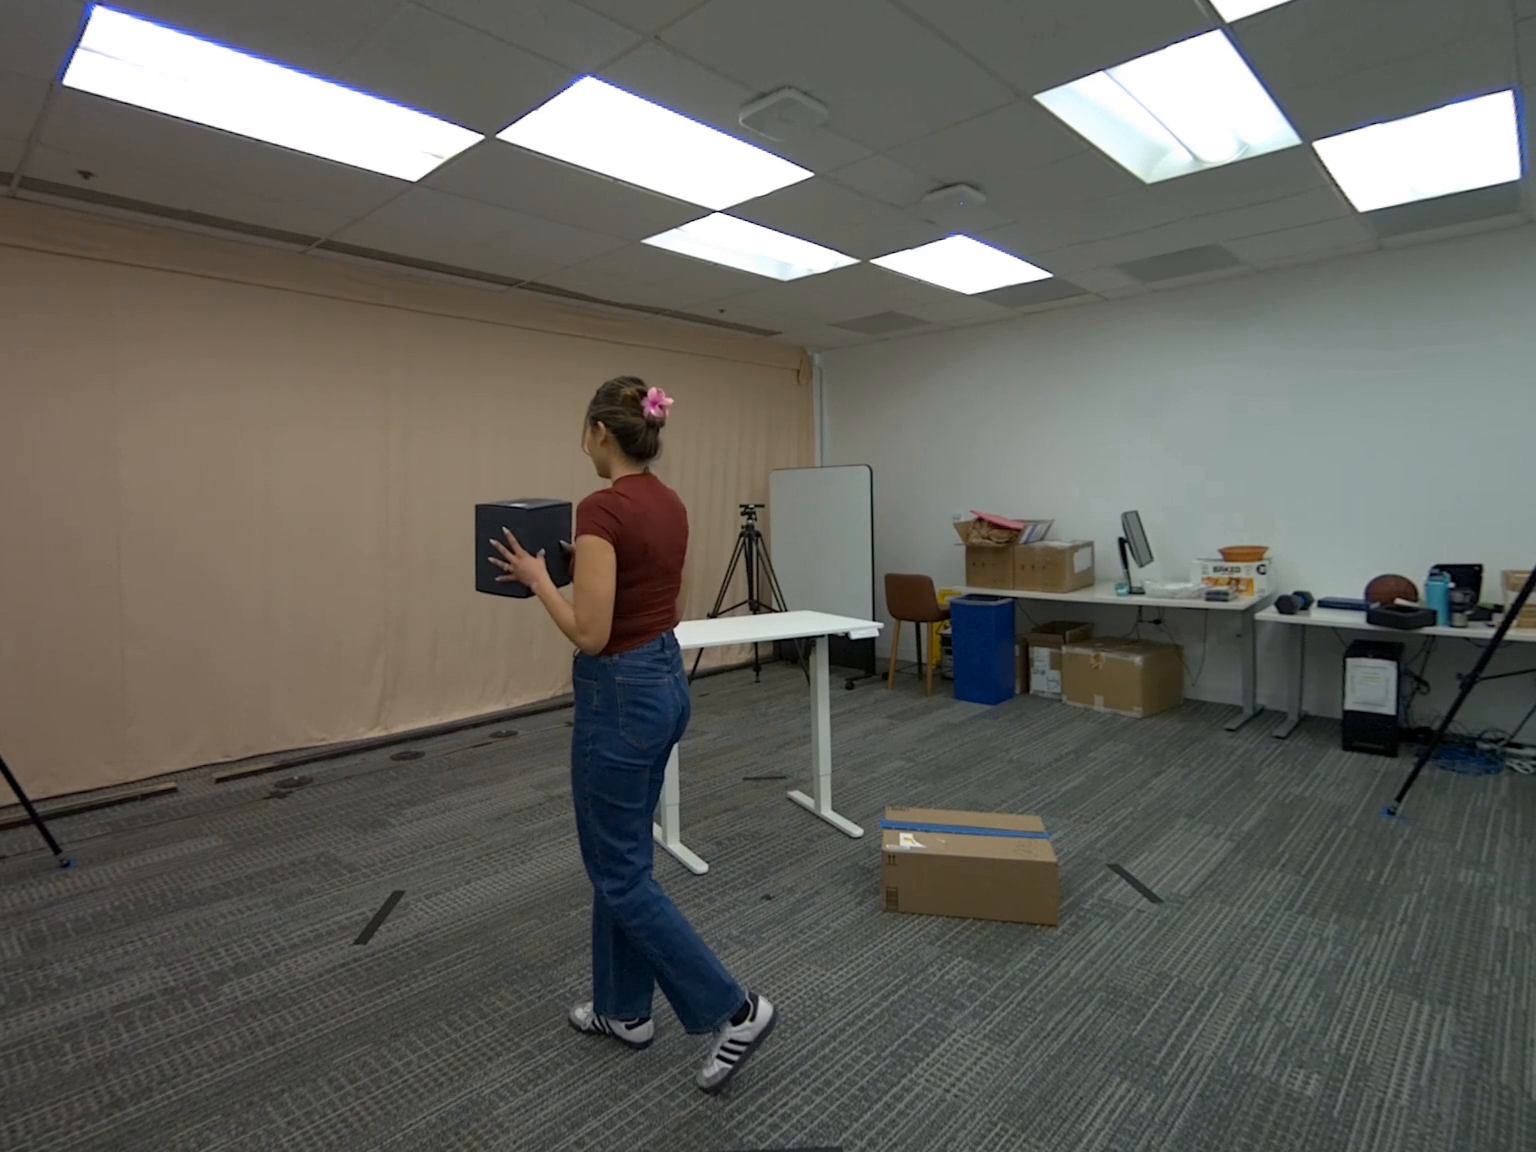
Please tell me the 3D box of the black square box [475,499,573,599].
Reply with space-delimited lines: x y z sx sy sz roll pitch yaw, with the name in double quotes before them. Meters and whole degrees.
"black square box" -0.622 -0.083 2.198 0.158 0.227 0.214 1 6 13
